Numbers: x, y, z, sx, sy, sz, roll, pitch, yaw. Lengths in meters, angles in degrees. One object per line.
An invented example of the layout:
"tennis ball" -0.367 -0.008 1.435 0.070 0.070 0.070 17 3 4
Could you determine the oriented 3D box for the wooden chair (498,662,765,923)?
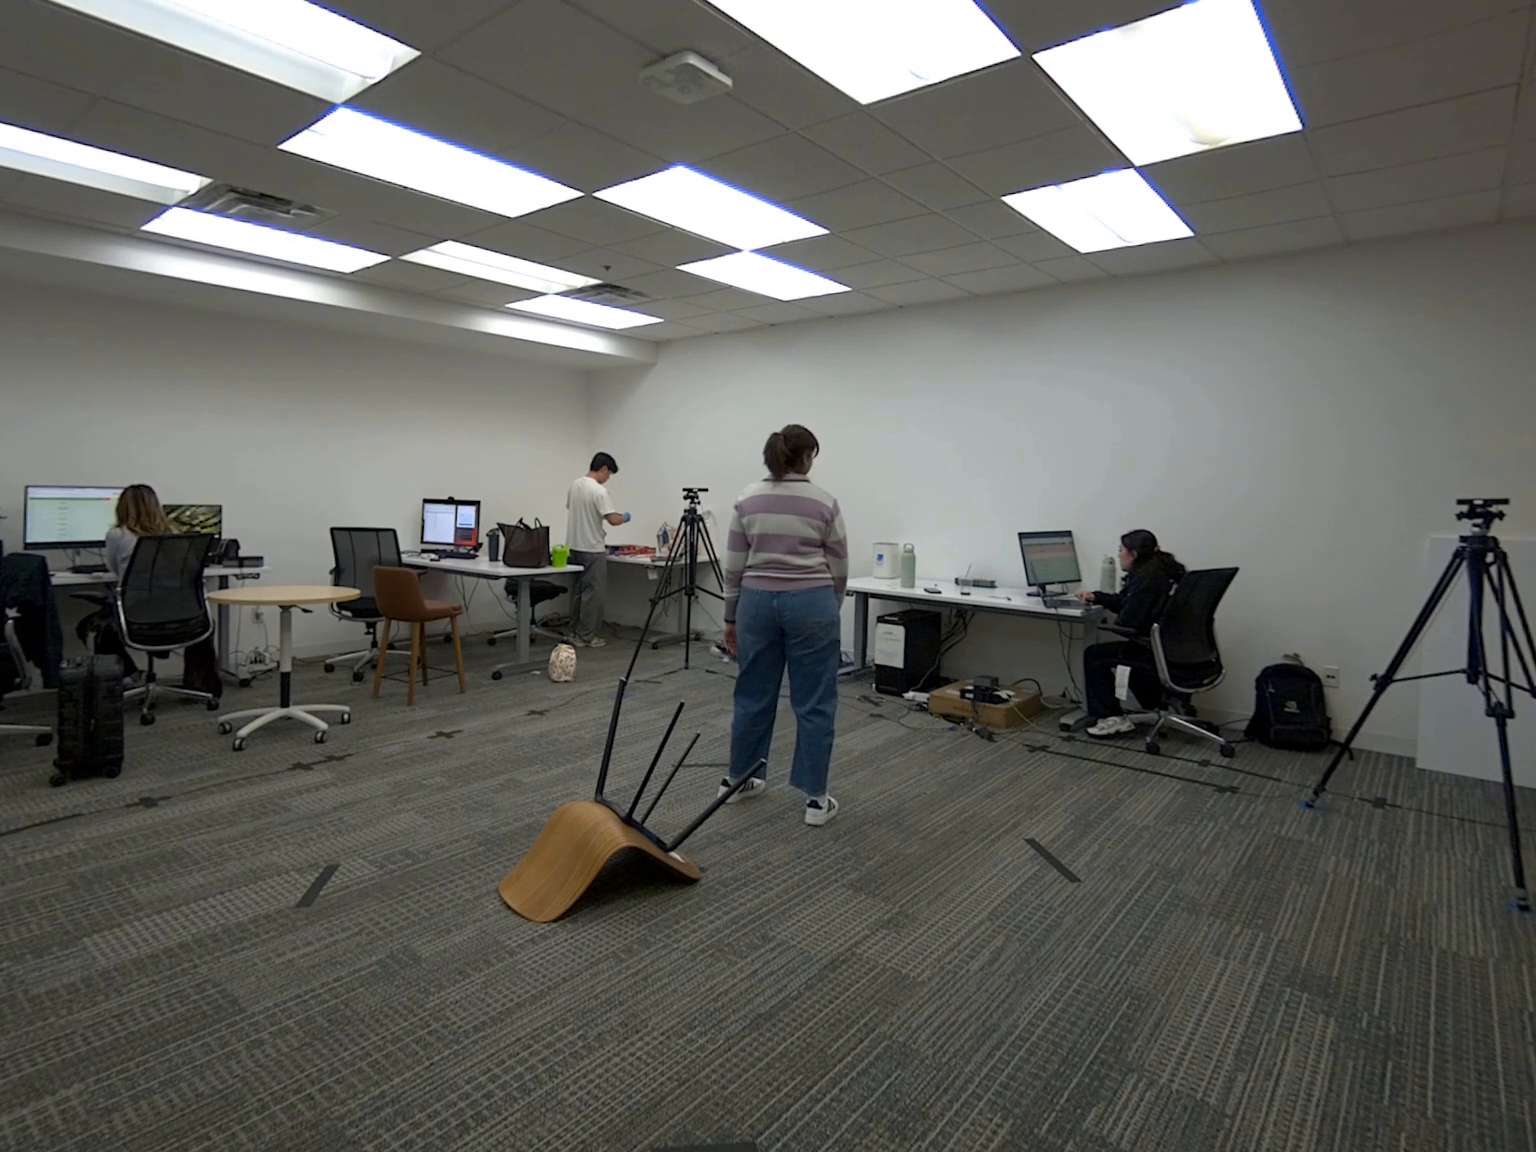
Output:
"wooden chair" -0.494 0.897 3.074 0.505 0.880 0.494 46 -23 -30
